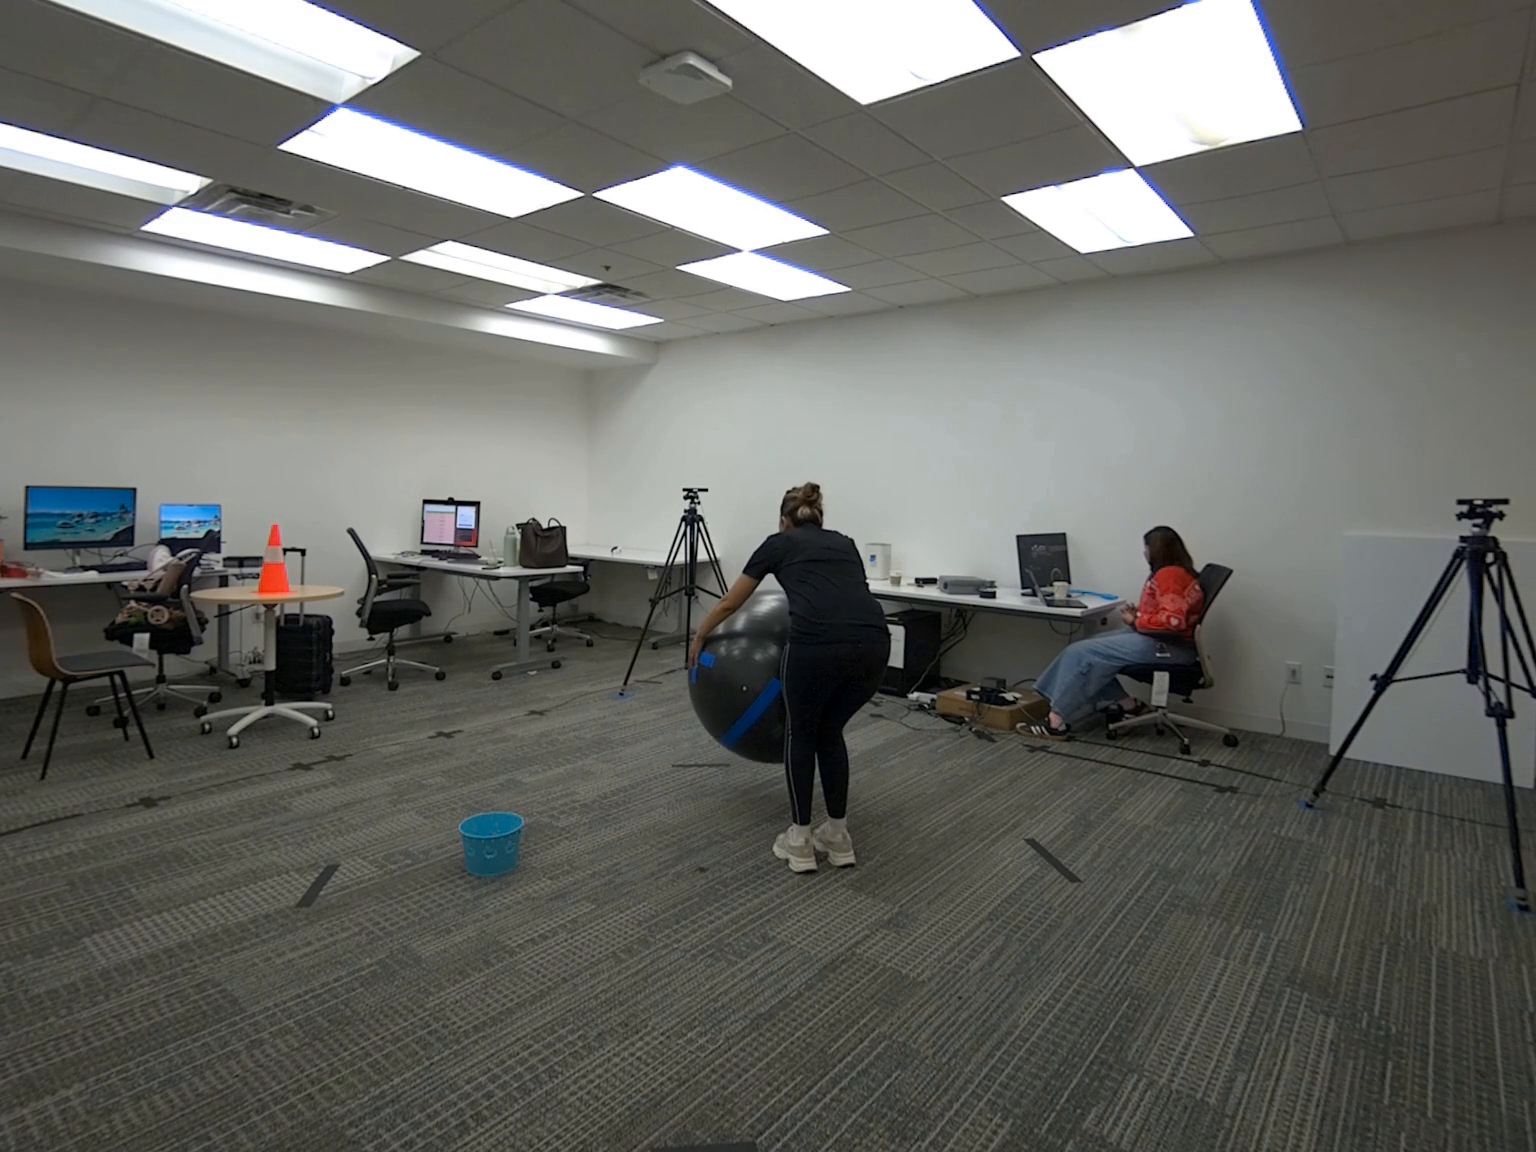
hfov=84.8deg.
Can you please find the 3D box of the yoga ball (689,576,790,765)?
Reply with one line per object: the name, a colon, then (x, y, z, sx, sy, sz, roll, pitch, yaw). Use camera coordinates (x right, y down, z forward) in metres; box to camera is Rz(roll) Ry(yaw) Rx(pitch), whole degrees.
yoga ball: (0.011, 0.439, 3.779, 0.757, 0.756, 0.762, 1, 4, -2)
